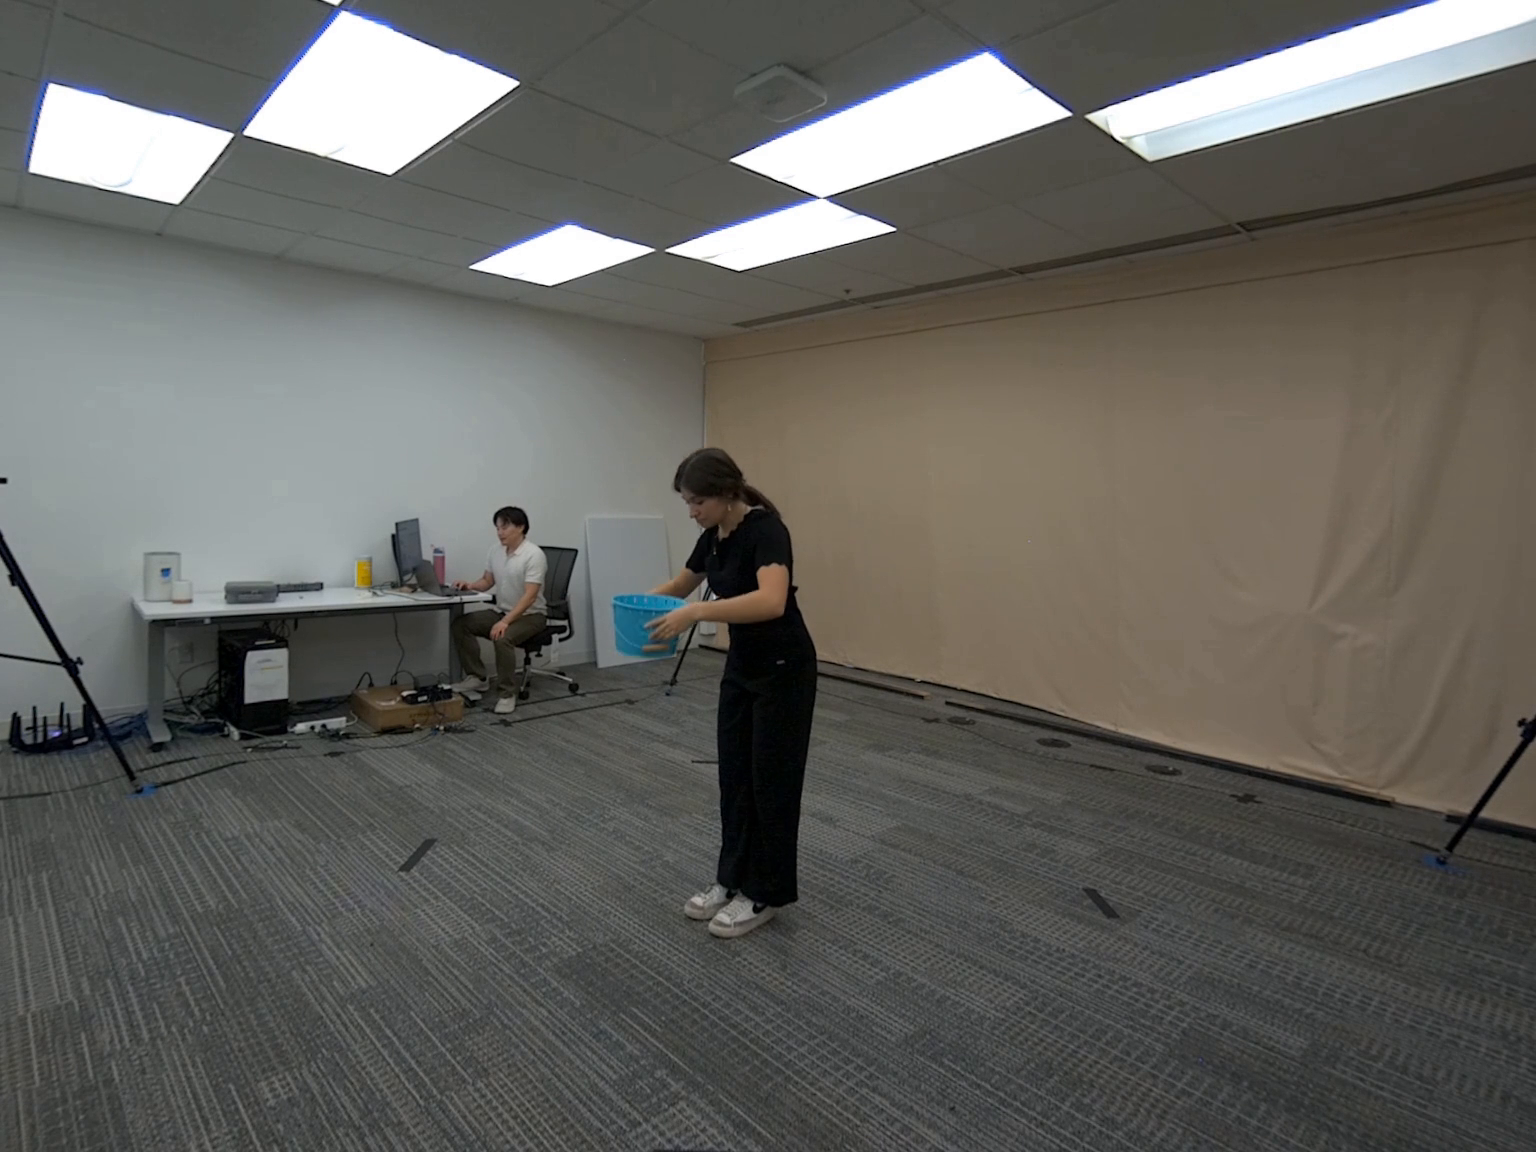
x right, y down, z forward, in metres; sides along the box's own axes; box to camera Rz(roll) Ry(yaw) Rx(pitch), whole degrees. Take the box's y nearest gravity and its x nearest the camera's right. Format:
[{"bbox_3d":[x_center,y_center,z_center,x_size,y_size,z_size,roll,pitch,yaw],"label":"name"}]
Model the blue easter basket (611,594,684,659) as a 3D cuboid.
[{"bbox_3d":[-0.368,0.154,2.524,0.243,0.155,0.245,4,8,-2],"label":"blue easter basket"}]
